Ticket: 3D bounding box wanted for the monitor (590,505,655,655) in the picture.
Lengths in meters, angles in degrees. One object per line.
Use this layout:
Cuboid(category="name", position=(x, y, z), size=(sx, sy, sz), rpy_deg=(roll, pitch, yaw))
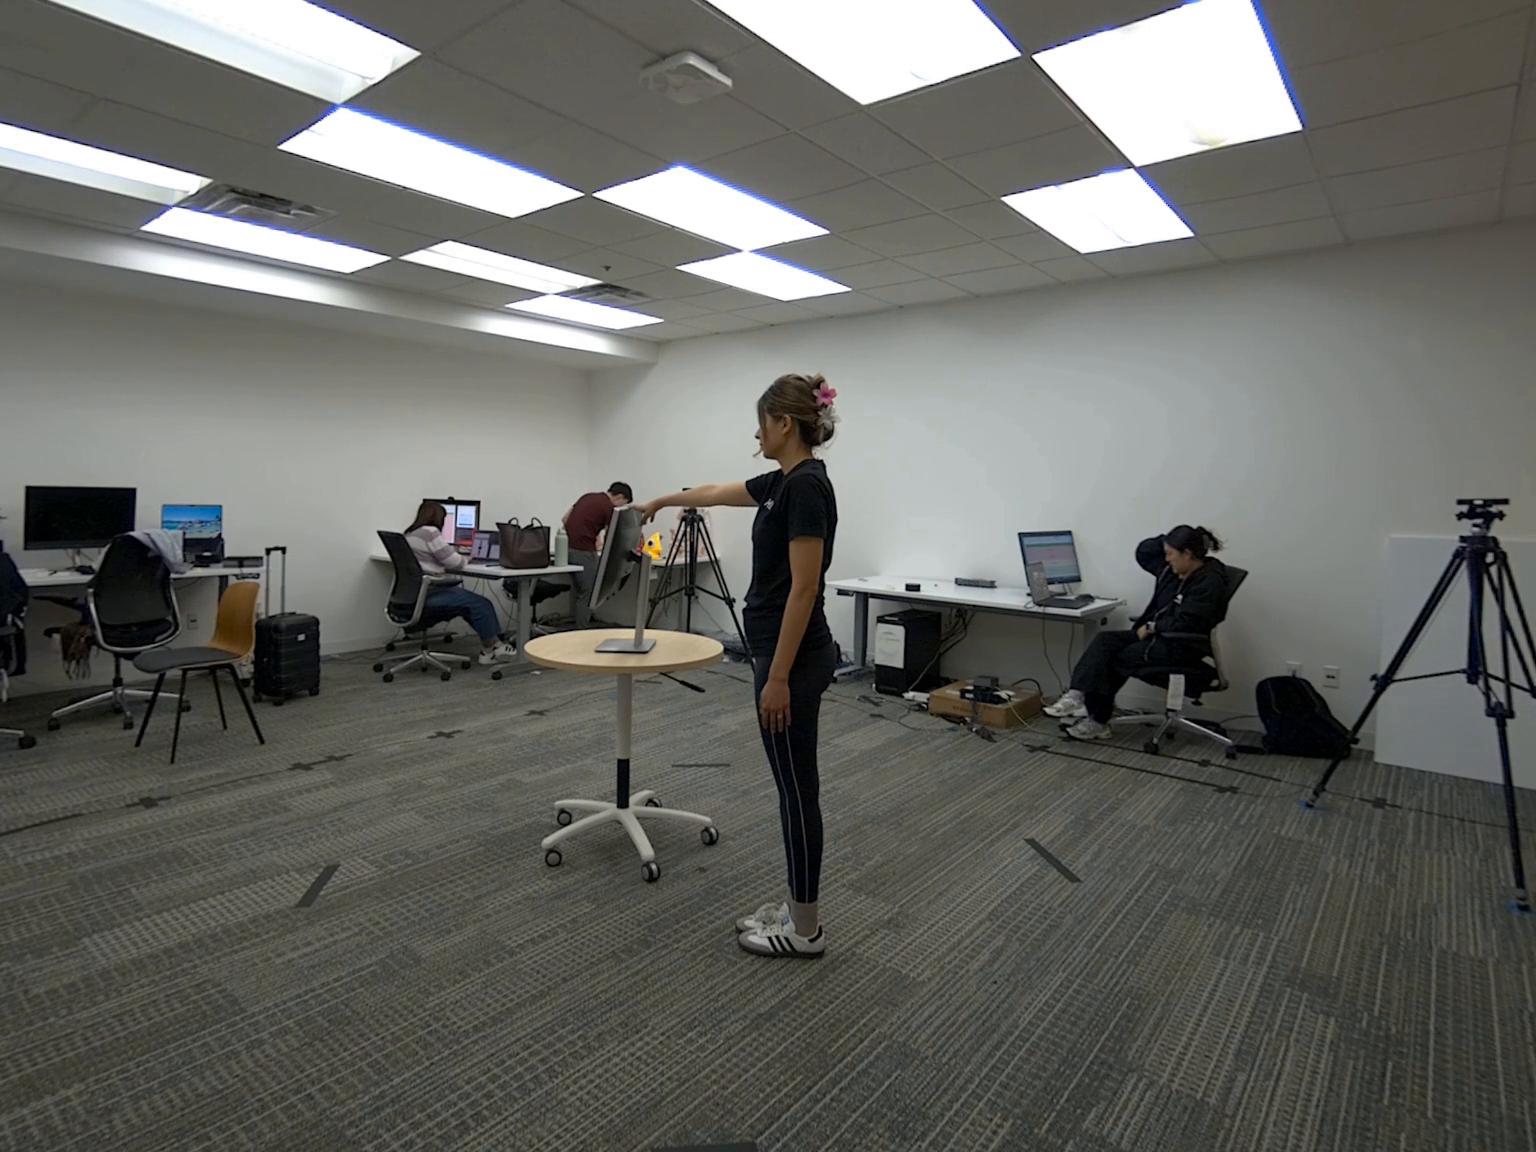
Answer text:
Cuboid(category="monitor", position=(-0.544, 0.010, 3.246), size=(0.187, 0.521, 0.541), rpy_deg=(1, 5, -1))
